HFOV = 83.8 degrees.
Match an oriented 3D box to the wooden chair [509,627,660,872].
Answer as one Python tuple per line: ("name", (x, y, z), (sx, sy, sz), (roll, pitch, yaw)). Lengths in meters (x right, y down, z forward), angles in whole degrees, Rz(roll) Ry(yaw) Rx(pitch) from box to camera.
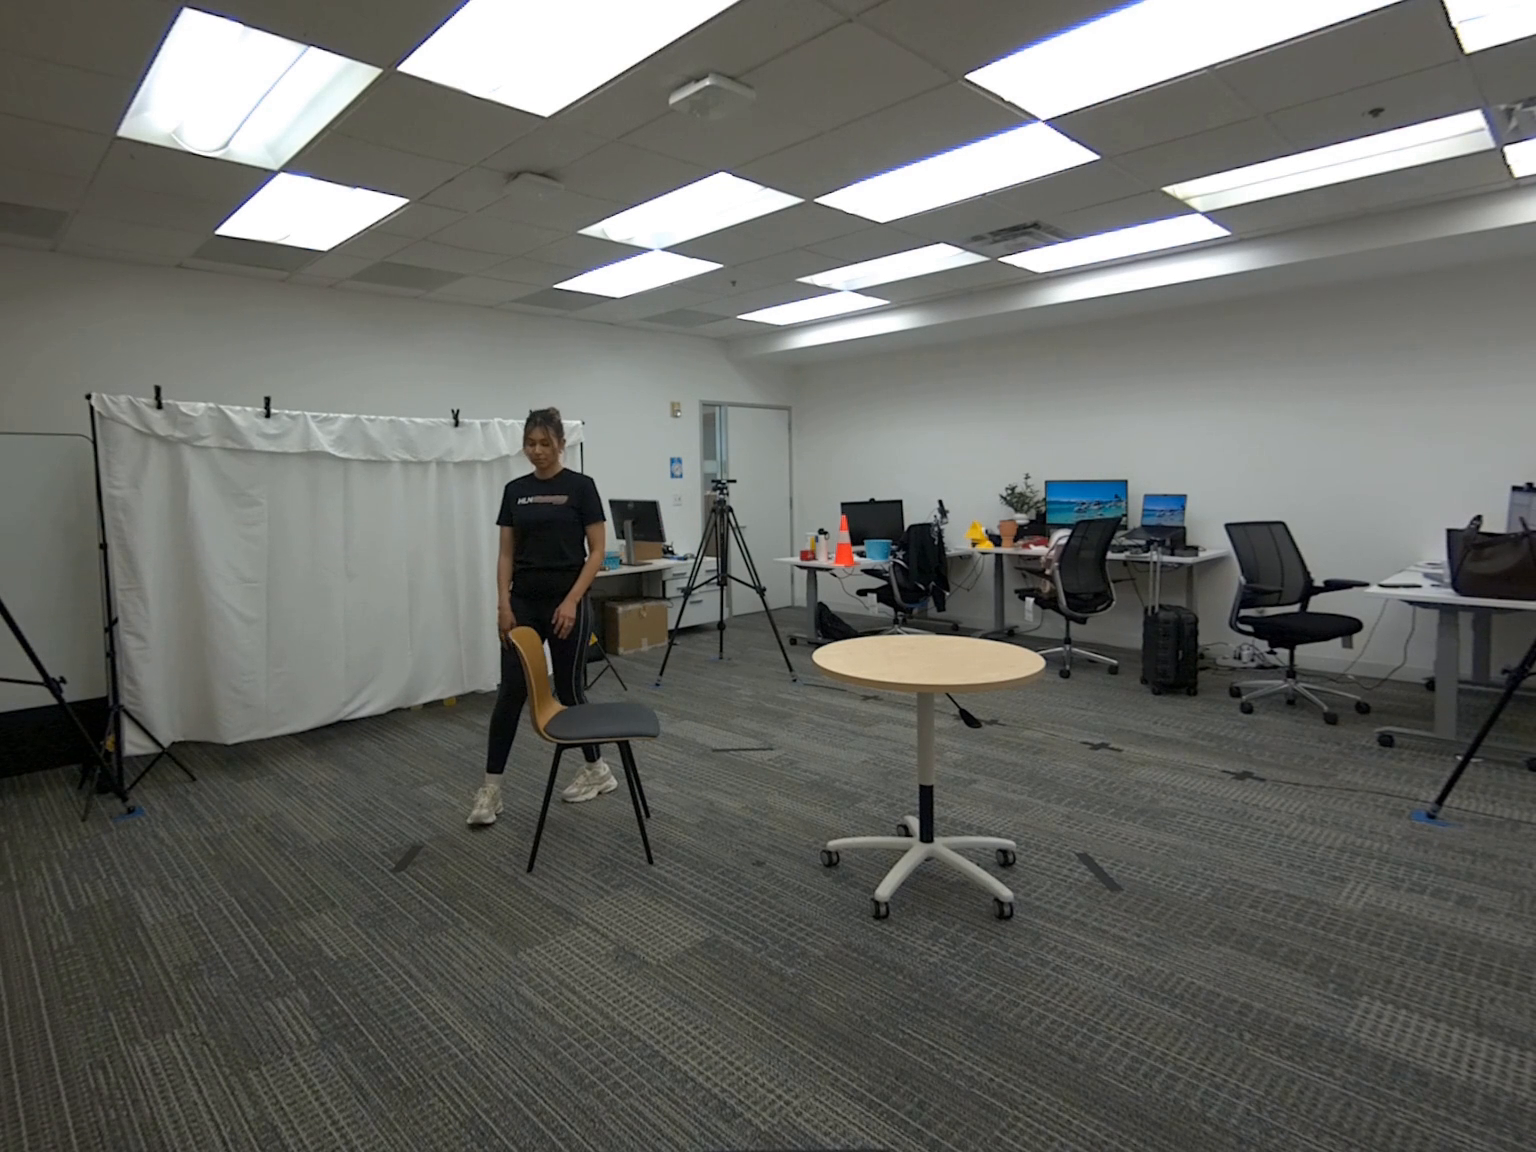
("wooden chair", (-0.678, 0.615, 3.283), (0.520, 0.874, 0.483), (-6, 4, -7))
